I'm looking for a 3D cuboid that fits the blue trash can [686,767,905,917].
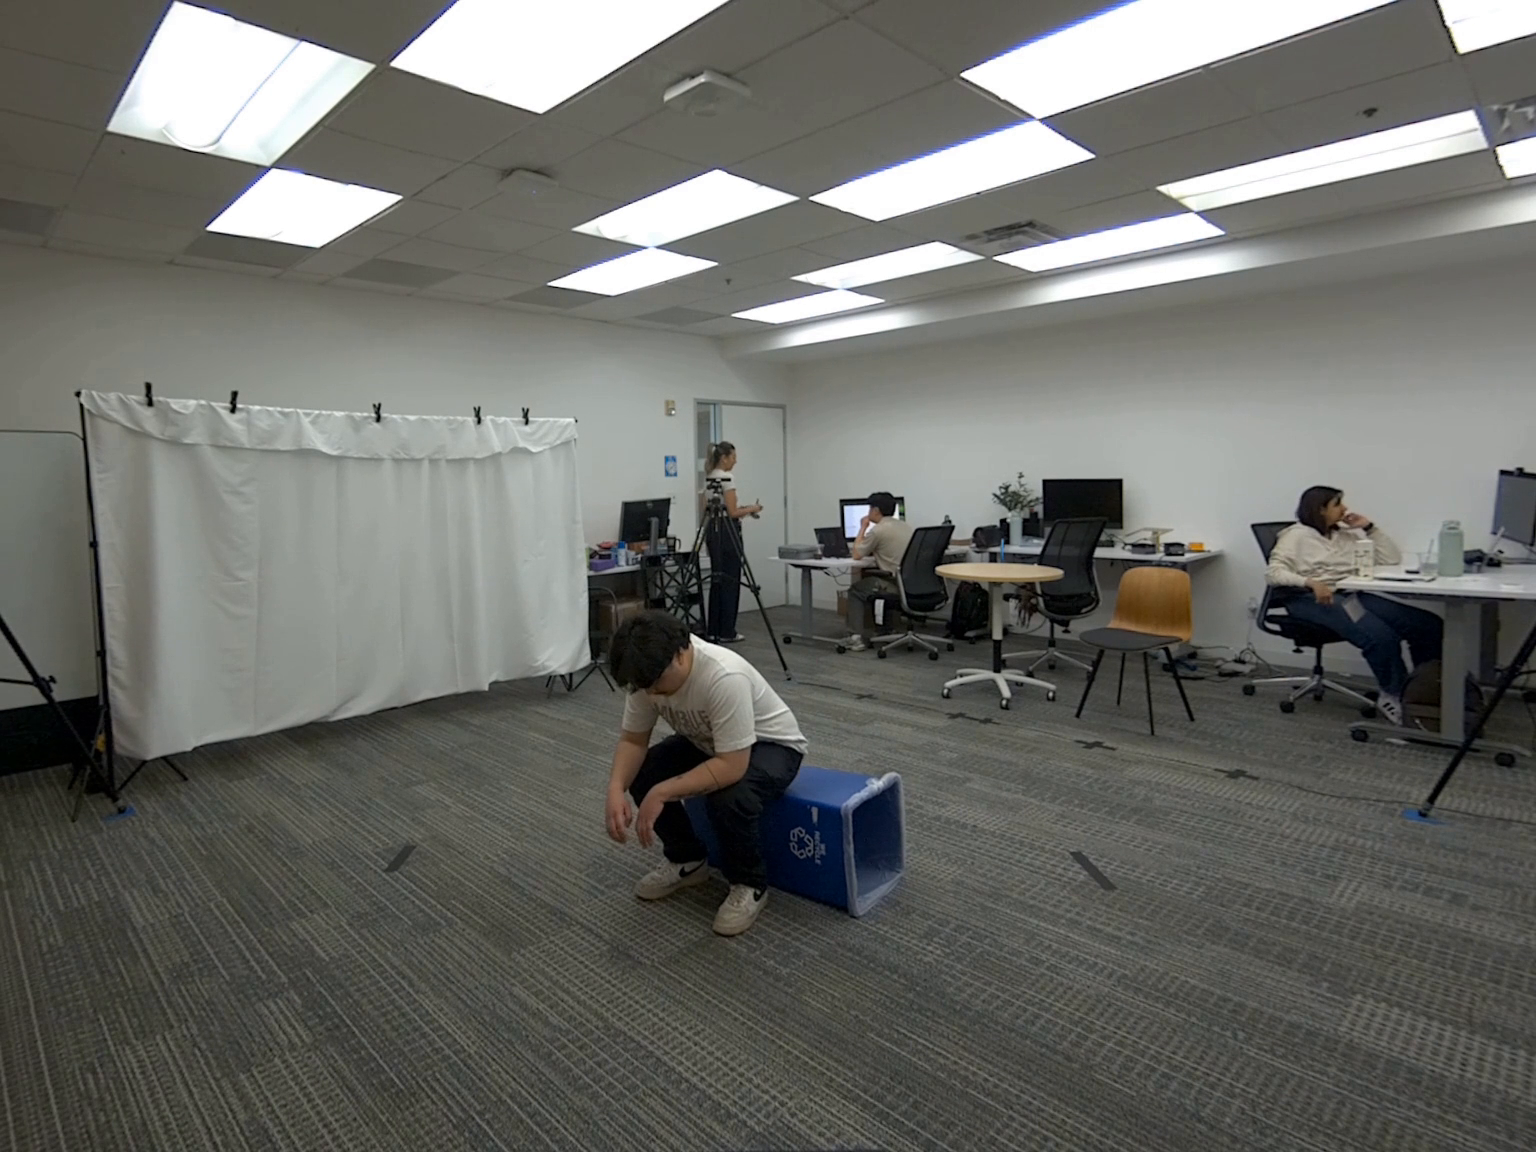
[{"bbox_3d":[0.080,0.880,3.045,0.733,0.373,0.369,-1,5,37],"label":"blue trash can"}]
